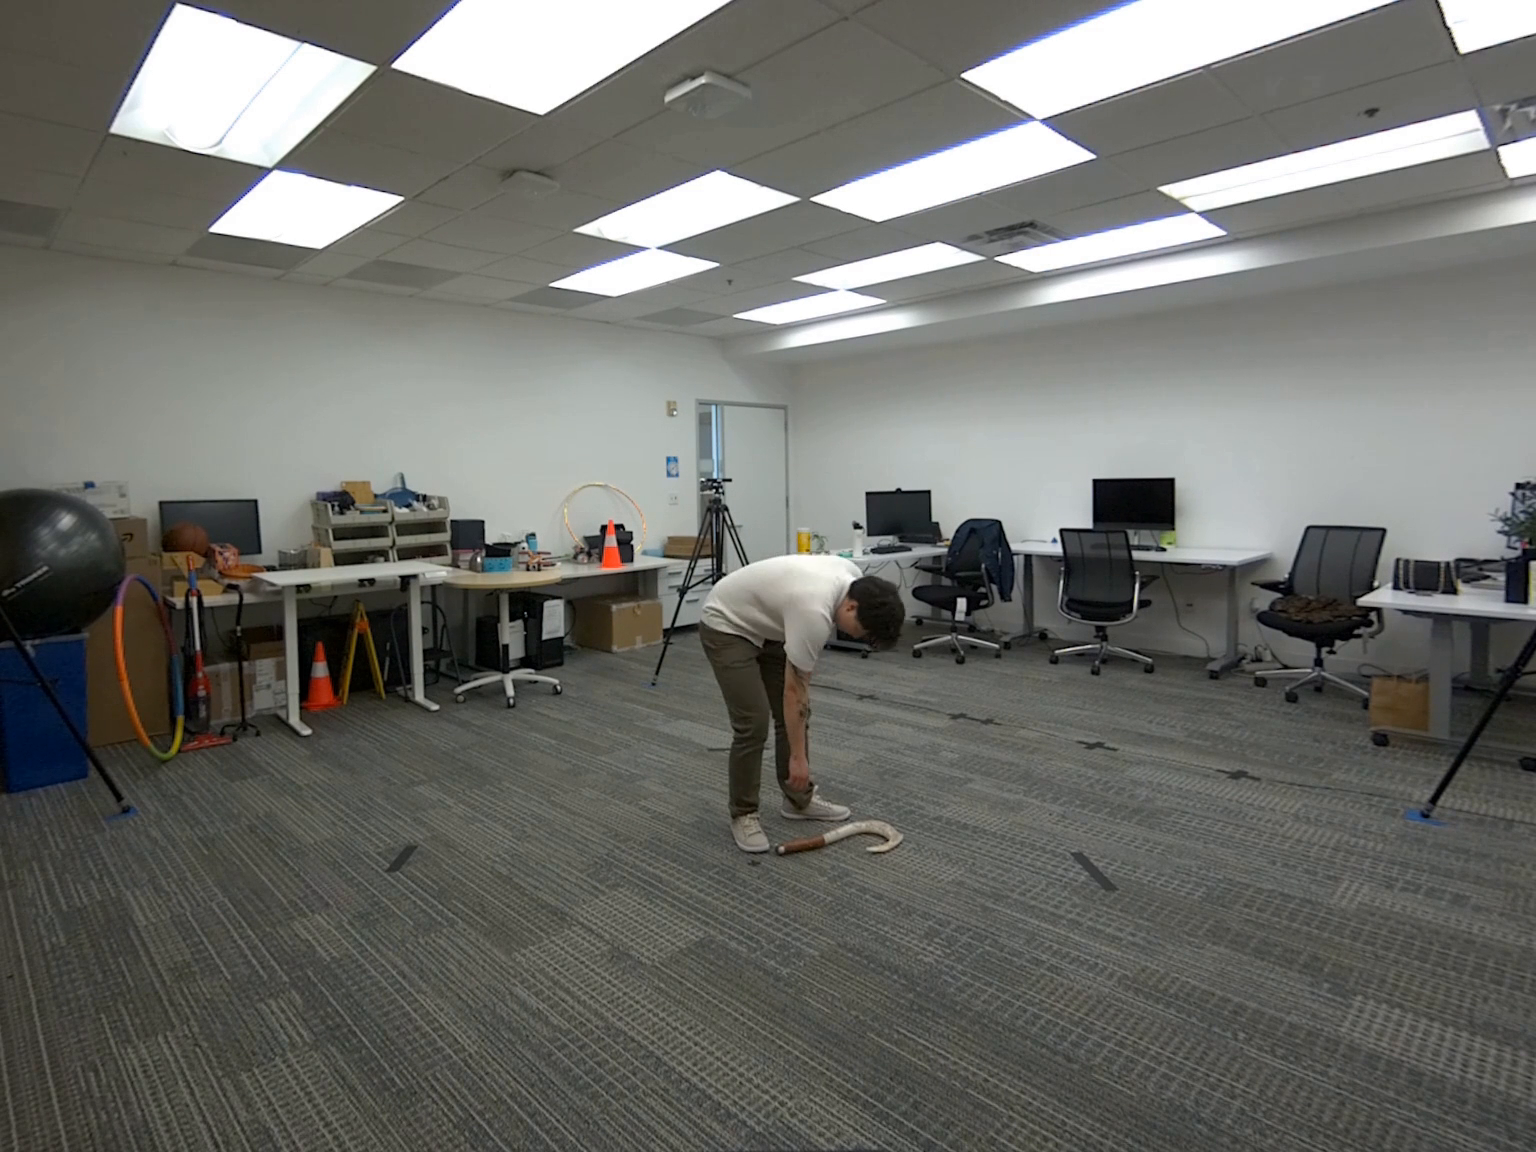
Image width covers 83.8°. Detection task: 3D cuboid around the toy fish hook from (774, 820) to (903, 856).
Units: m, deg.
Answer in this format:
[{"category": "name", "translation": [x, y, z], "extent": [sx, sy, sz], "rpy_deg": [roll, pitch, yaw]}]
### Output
[{"category": "toy fish hook", "translation": [0.270, 1.000, 3.222], "extent": [0.496, 0.048, 0.230], "rpy_deg": [-5, 6, -25]}]
